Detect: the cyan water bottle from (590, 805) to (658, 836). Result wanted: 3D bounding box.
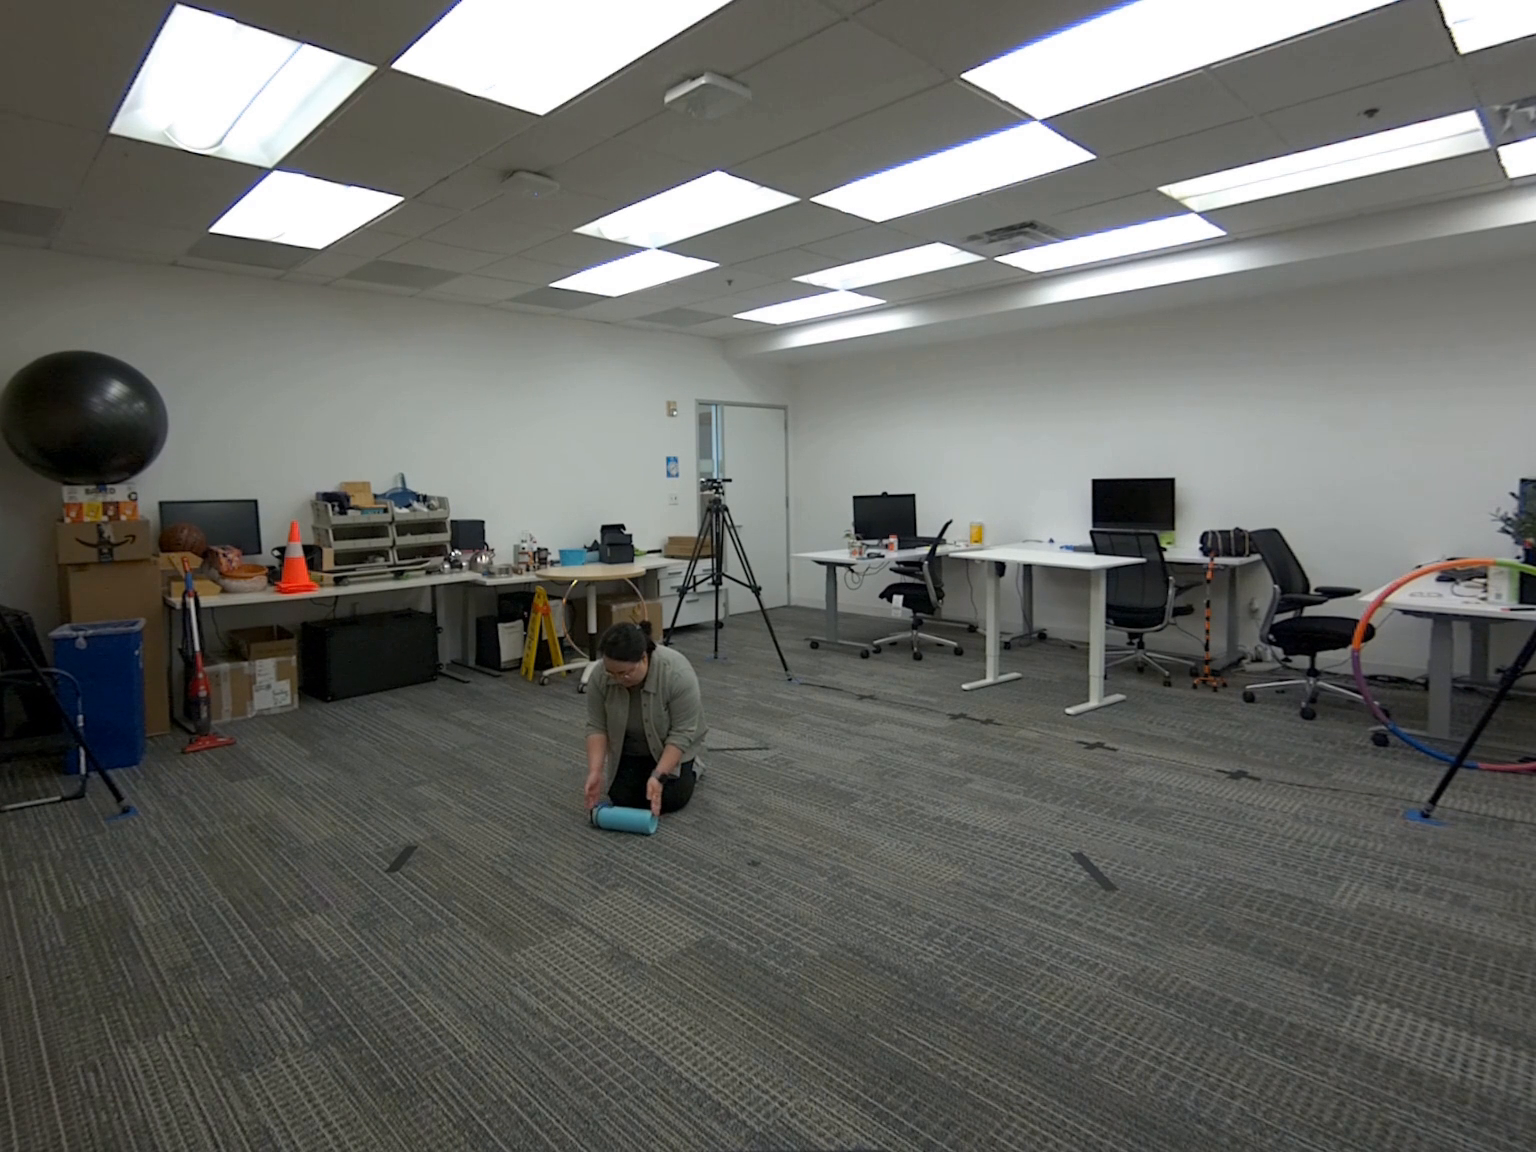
[{"bbox_3d":[-0.593,0.978,3.430,0.288,0.092,0.091,0,5,19],"label":"cyan water bottle"}]
